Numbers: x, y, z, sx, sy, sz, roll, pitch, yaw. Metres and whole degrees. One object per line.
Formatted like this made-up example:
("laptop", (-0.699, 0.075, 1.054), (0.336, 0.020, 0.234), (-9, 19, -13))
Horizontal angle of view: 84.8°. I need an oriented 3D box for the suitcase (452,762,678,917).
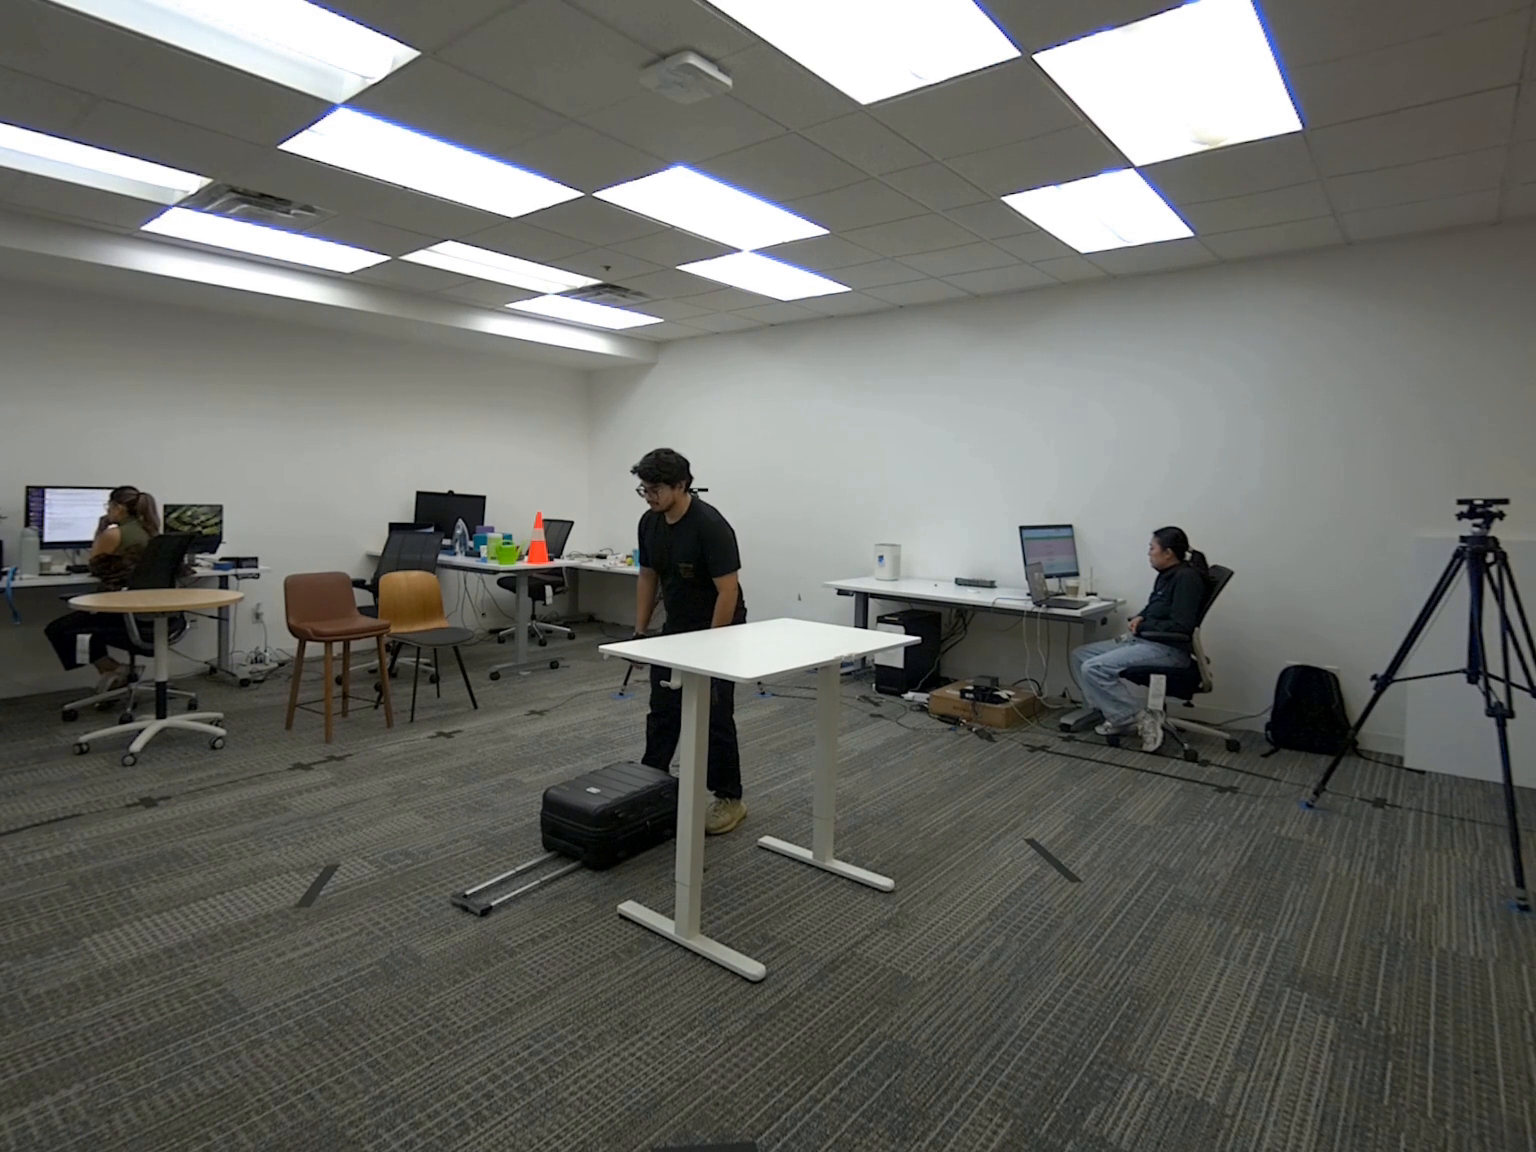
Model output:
("suitcase", (-0.728, 0.932, 3.165), (0.396, 0.256, 0.950), (6, 6, 34))
